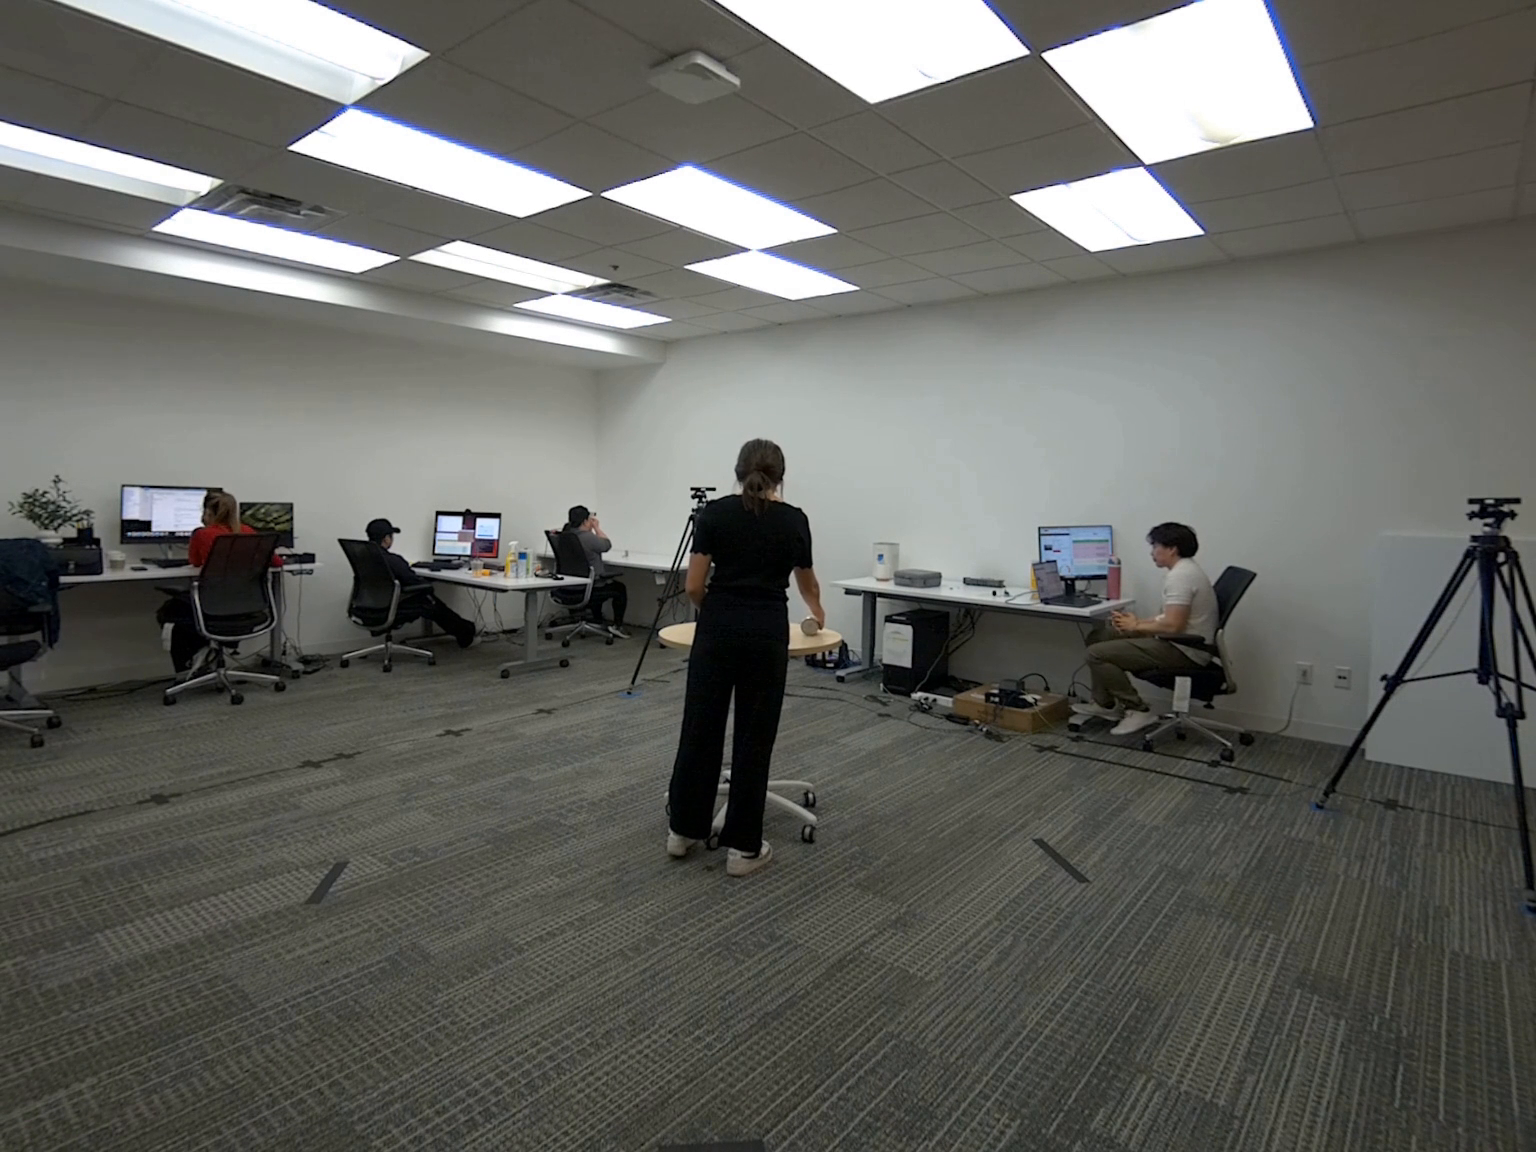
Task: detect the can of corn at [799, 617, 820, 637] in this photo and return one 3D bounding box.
[{"bbox_3d":[0.170,0.202,3.601,0.075,0.074,0.111,1,5,4],"label":"can of corn"}]
